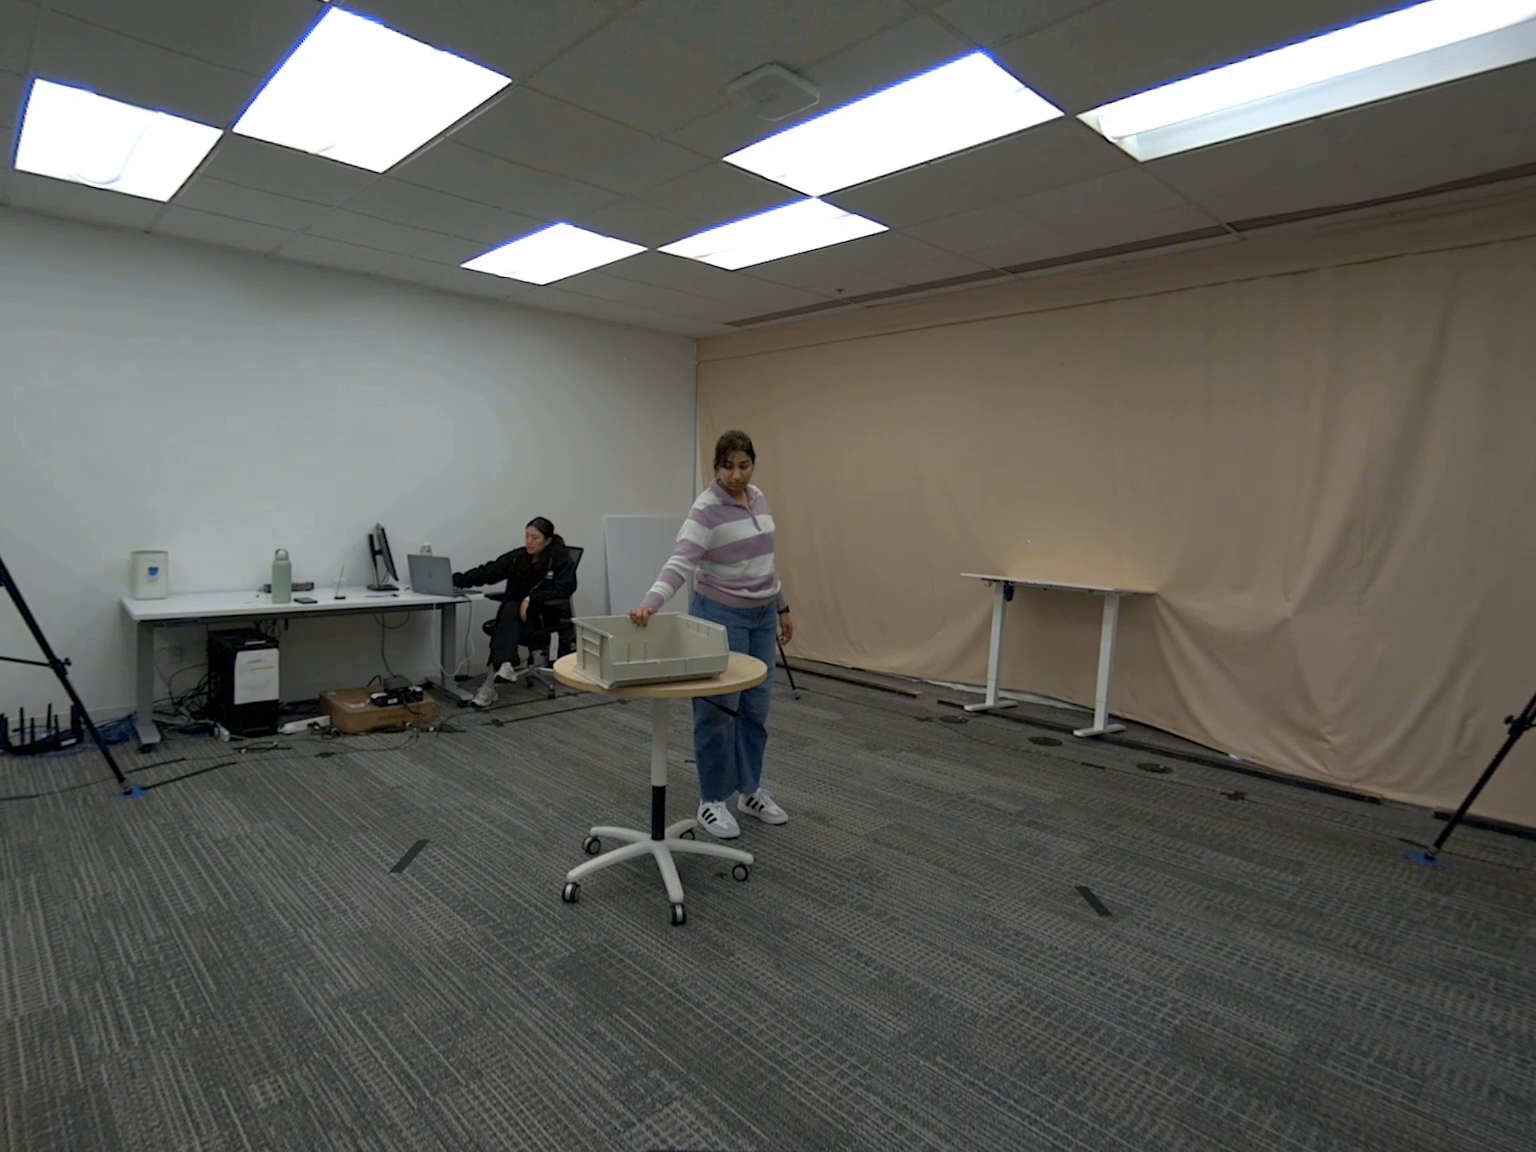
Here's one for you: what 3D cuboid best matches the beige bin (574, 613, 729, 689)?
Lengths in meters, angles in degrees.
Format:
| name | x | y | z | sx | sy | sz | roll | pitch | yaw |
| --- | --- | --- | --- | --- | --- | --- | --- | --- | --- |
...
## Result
| name | x | y | z | sx | sy | sz | roll | pitch | yaw |
| --- | --- | --- | --- | --- | --- | --- | --- | --- | --- |
| beige bin | -0.406 | 0.253 | 2.851 | 0.414 | 0.188 | 0.386 | -2 | 6 | -32 |
